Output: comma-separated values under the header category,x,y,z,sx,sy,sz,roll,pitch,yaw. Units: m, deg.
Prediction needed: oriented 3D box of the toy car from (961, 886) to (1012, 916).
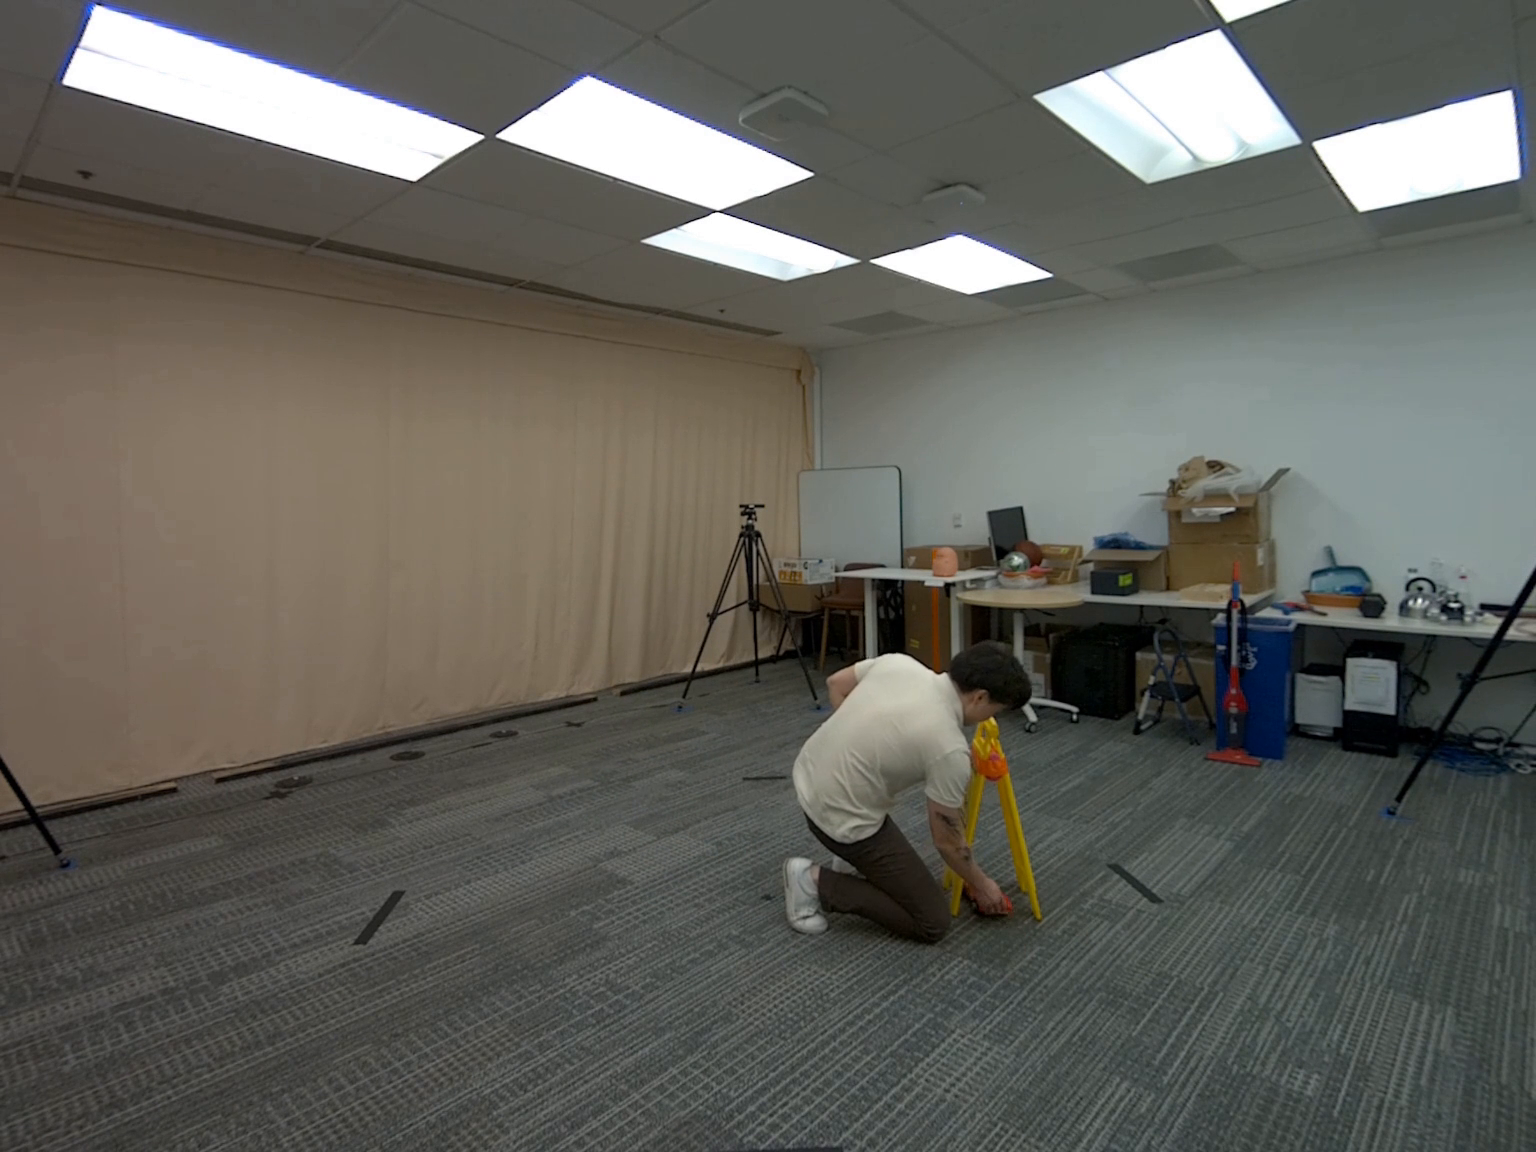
category,x,y,z,sx,sy,sz,roll,pitch,yaw
toy car,0.766,1.115,2.863,0.130,0.084,0.254,-1,-9,-4
